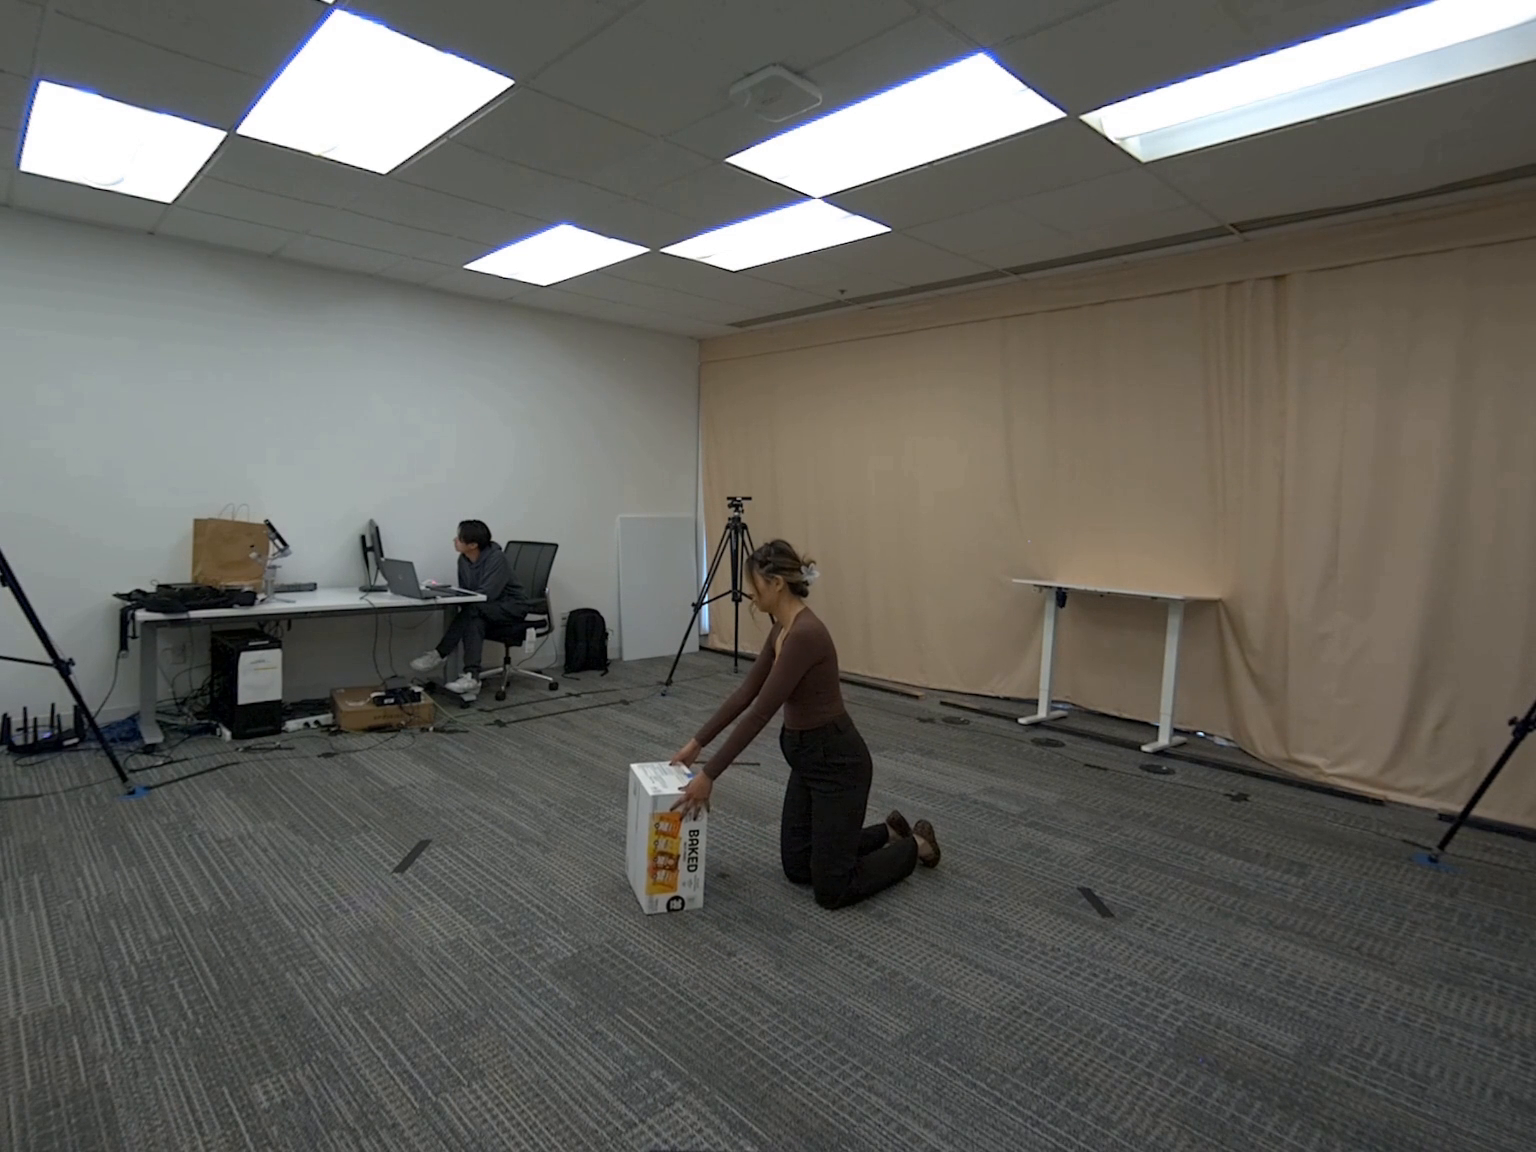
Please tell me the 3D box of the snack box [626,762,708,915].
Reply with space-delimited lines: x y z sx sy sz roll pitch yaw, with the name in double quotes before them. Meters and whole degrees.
"snack box" -0.367 0.906 2.975 0.202 0.404 0.346 2 4 -21
